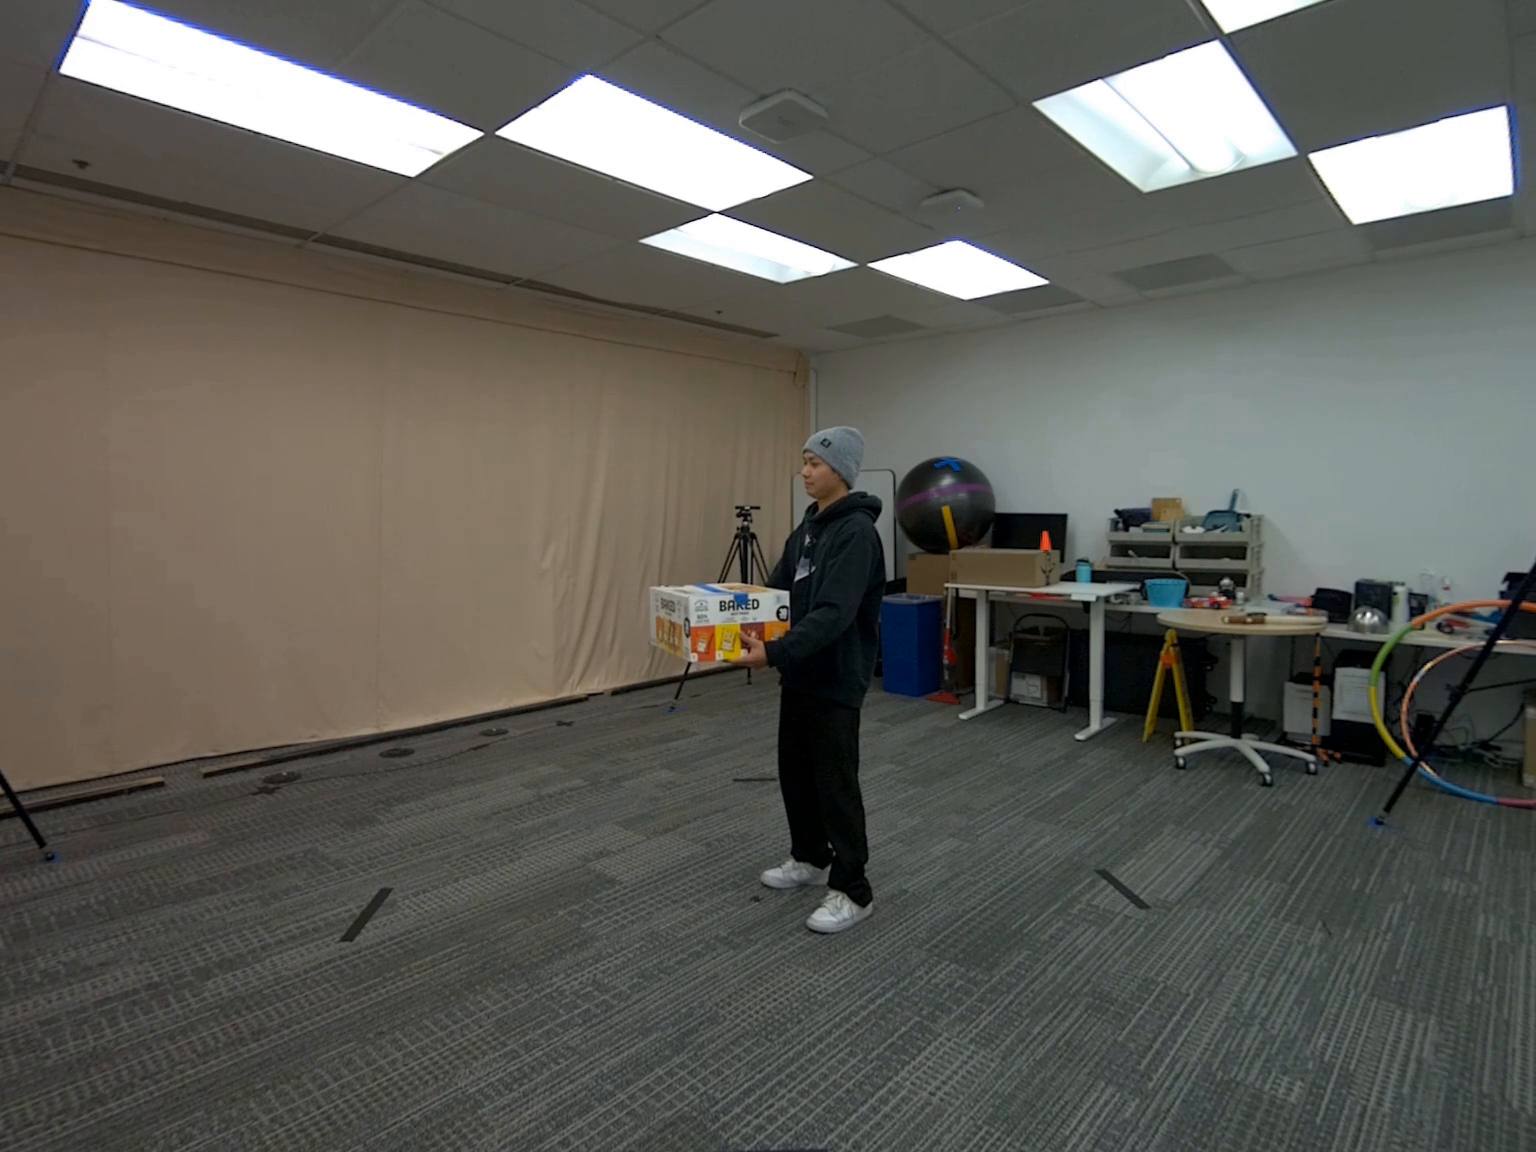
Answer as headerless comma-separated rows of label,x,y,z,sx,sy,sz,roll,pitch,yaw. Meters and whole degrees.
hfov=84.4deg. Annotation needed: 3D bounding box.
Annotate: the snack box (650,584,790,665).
snack box,-0.166,0.148,2.797,0.333,0.205,0.415,-2,4,-23
